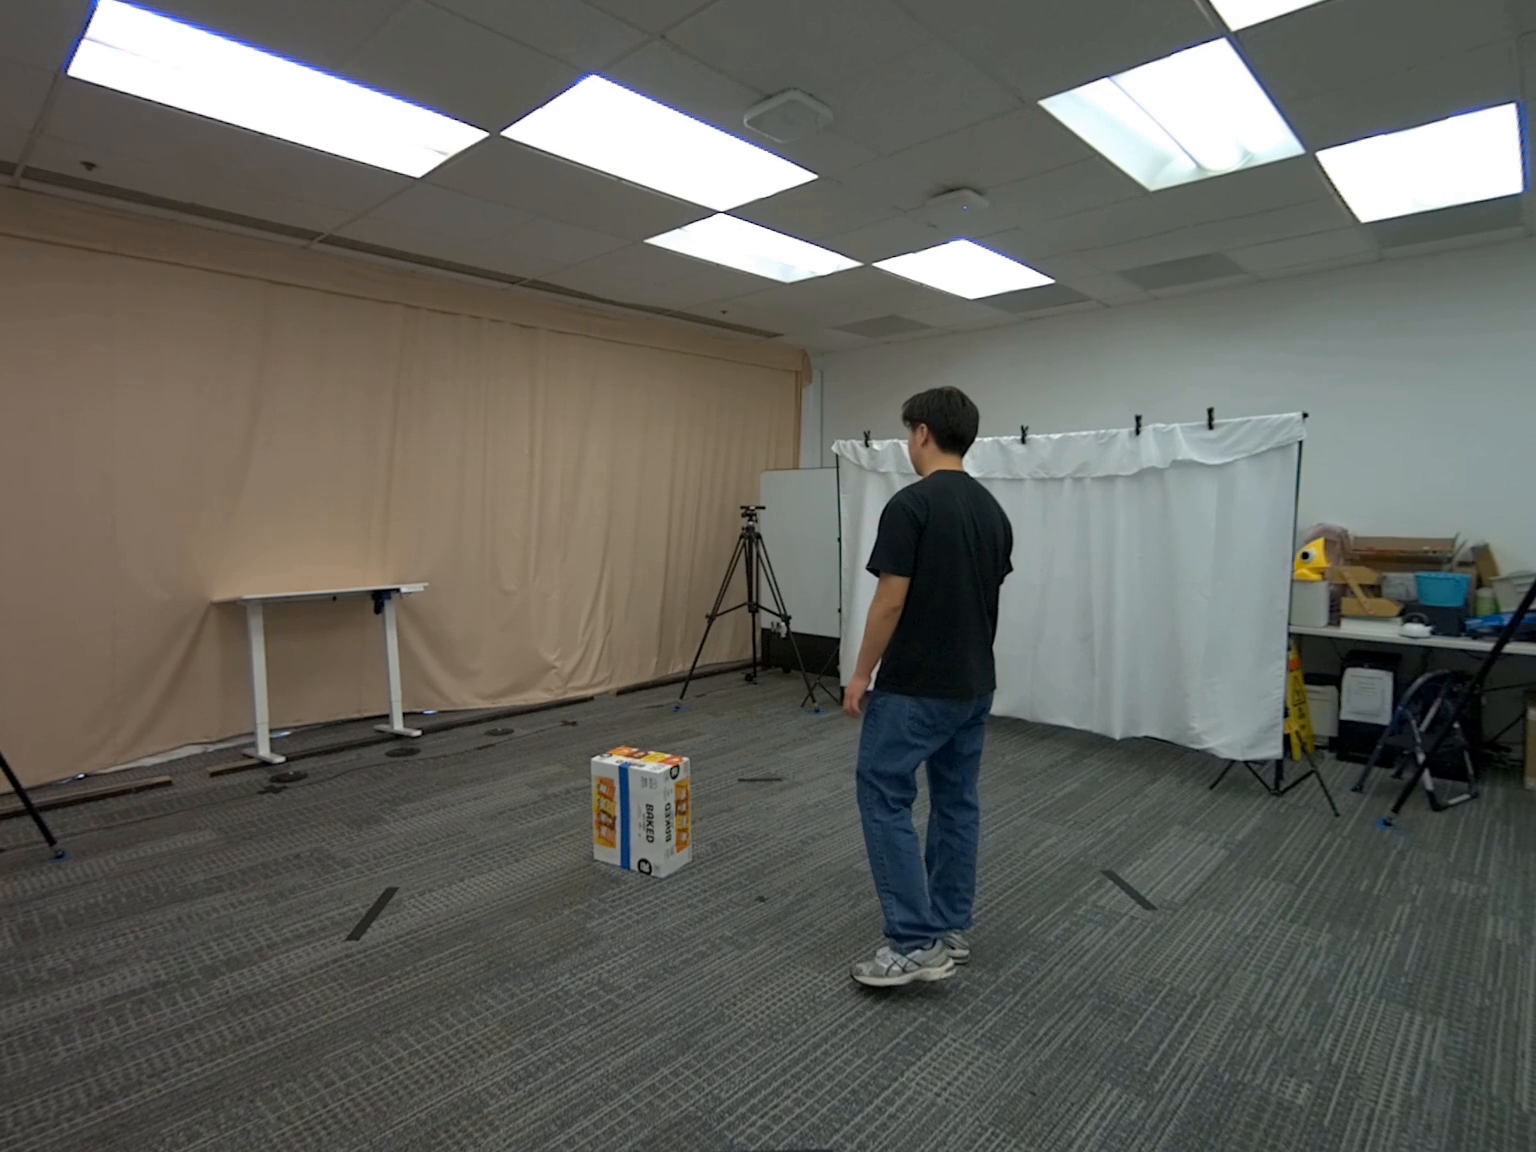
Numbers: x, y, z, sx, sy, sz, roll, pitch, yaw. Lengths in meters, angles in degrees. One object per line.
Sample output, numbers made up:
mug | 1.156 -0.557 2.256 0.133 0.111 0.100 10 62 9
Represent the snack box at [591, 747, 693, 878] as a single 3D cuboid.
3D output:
snack box | -0.496 0.917 3.312 0.350 0.404 0.200 1 4 31
